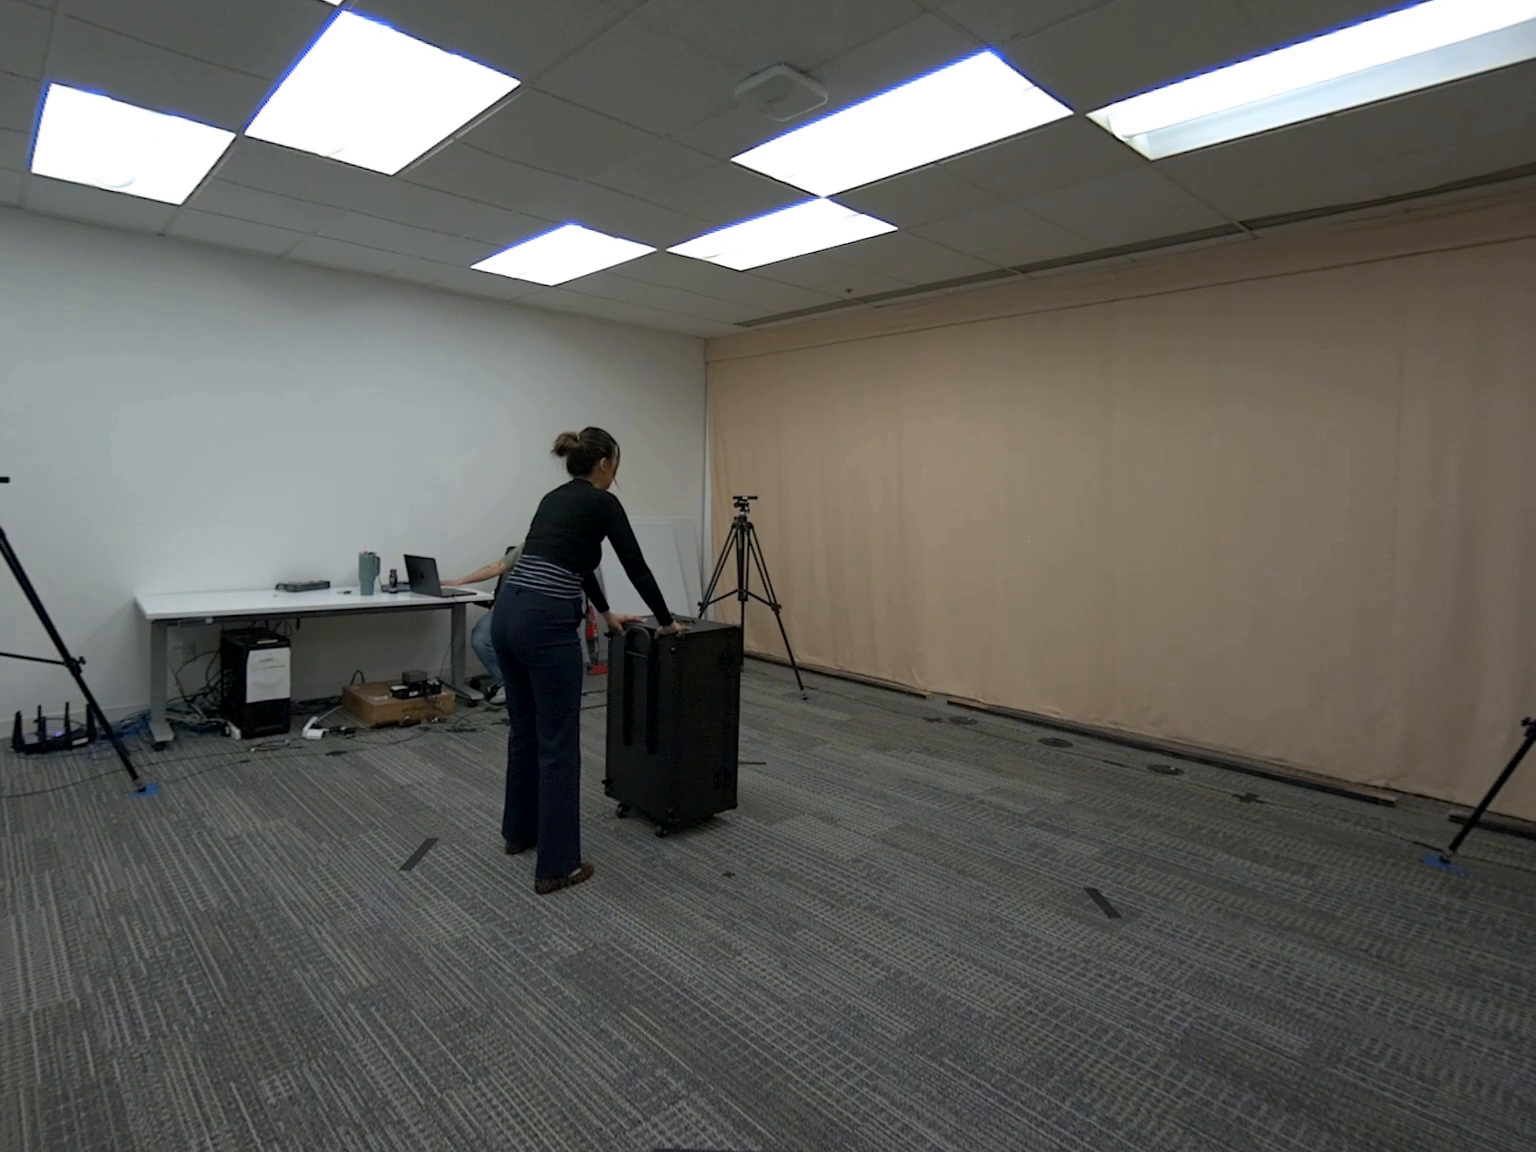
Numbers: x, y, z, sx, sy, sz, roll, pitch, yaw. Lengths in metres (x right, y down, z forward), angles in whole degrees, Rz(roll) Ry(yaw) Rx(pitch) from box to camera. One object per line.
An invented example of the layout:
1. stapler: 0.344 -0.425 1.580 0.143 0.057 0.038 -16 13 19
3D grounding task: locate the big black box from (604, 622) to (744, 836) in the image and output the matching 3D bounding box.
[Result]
1. big black box: -0.427 0.624 3.624 0.387 0.859 0.535 -2 5 -45
